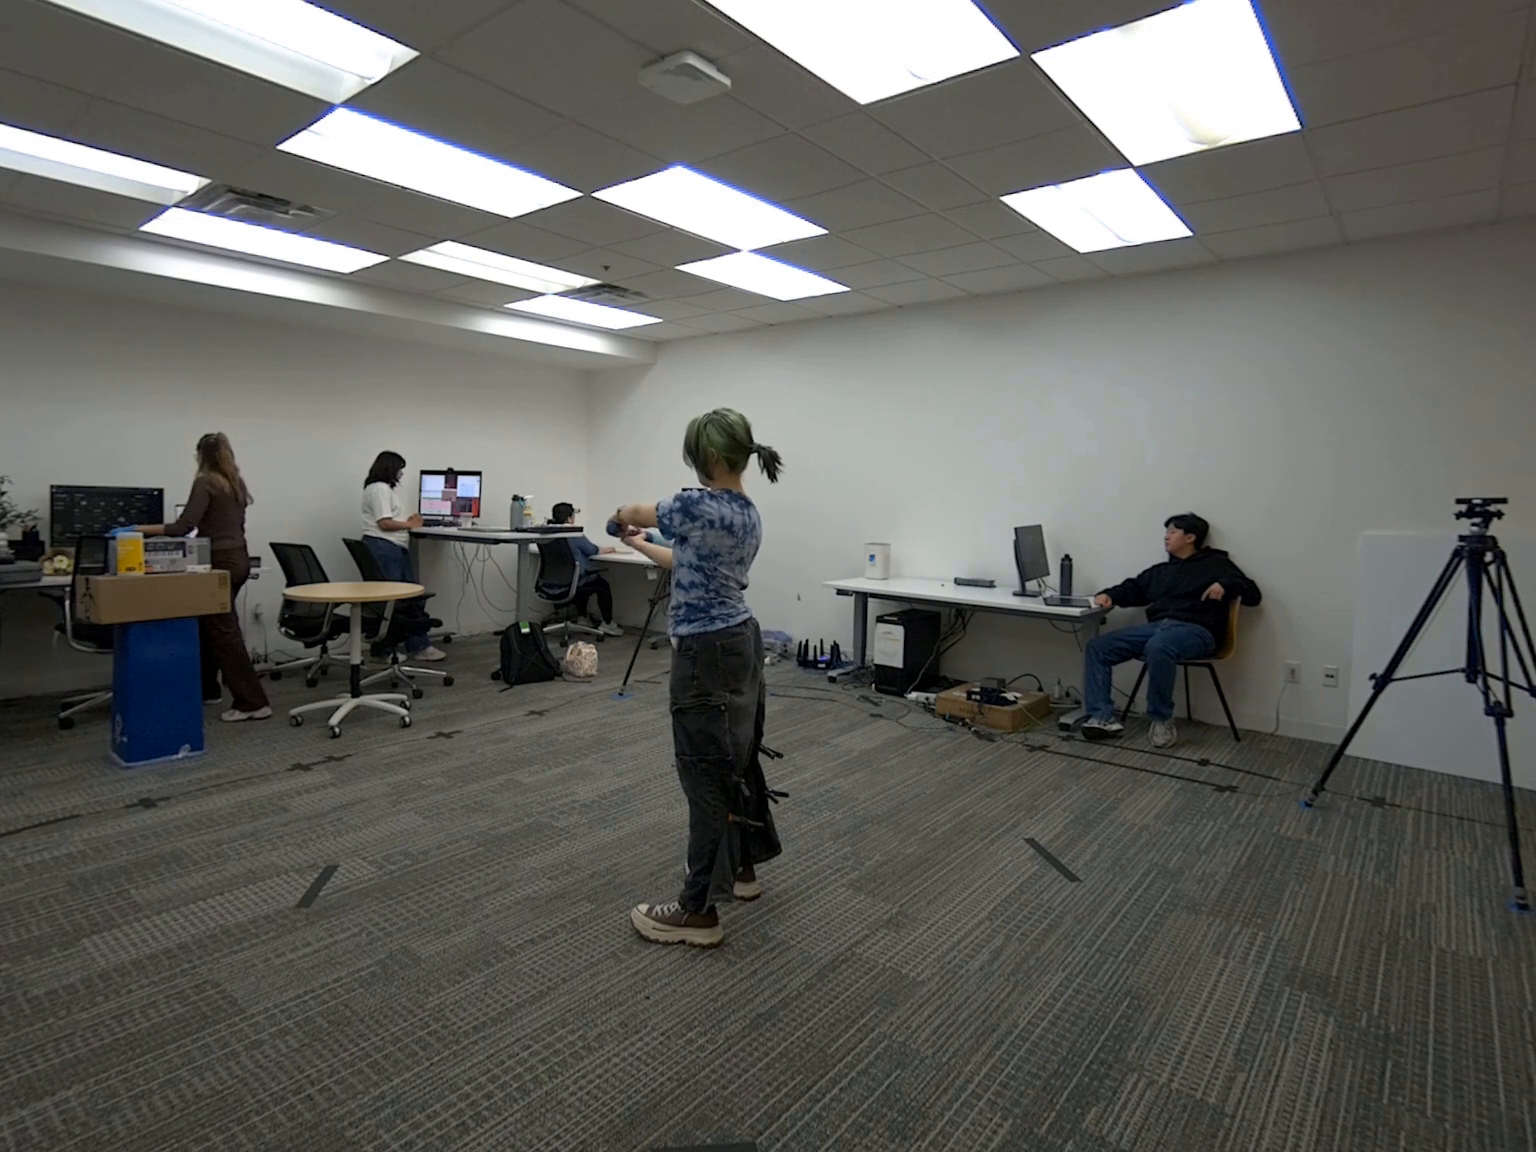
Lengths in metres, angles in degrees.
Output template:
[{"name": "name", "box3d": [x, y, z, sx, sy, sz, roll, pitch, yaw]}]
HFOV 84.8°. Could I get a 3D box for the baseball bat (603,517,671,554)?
[{"name": "baseball bat", "box3d": [-0.494, -0.144, 3.322, 0.090, 0.089, 0.530, 2, -5, 14]}]
